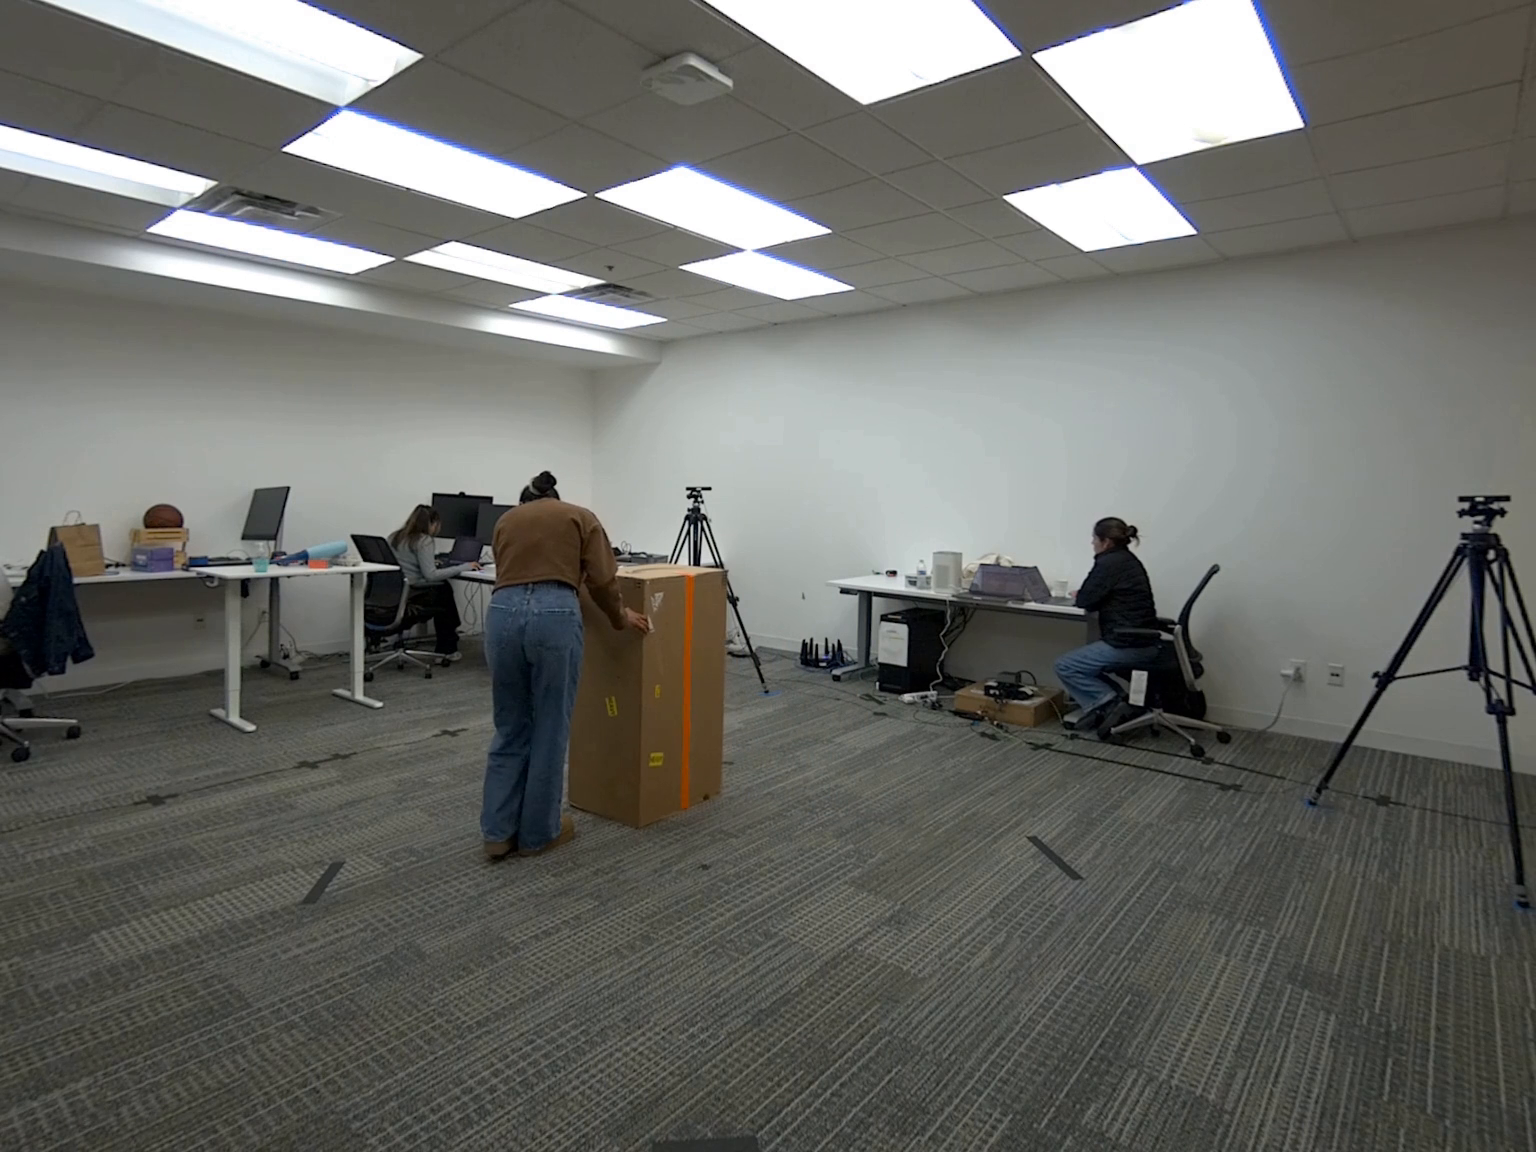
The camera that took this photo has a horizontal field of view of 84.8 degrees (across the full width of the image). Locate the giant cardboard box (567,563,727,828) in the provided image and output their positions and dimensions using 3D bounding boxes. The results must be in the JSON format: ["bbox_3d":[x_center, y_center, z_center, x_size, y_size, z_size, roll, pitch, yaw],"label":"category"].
[{"bbox_3d":[-0.533,0.485,3.783,0.440,1.023,0.561,4,4,35],"label":"giant cardboard box"}]
